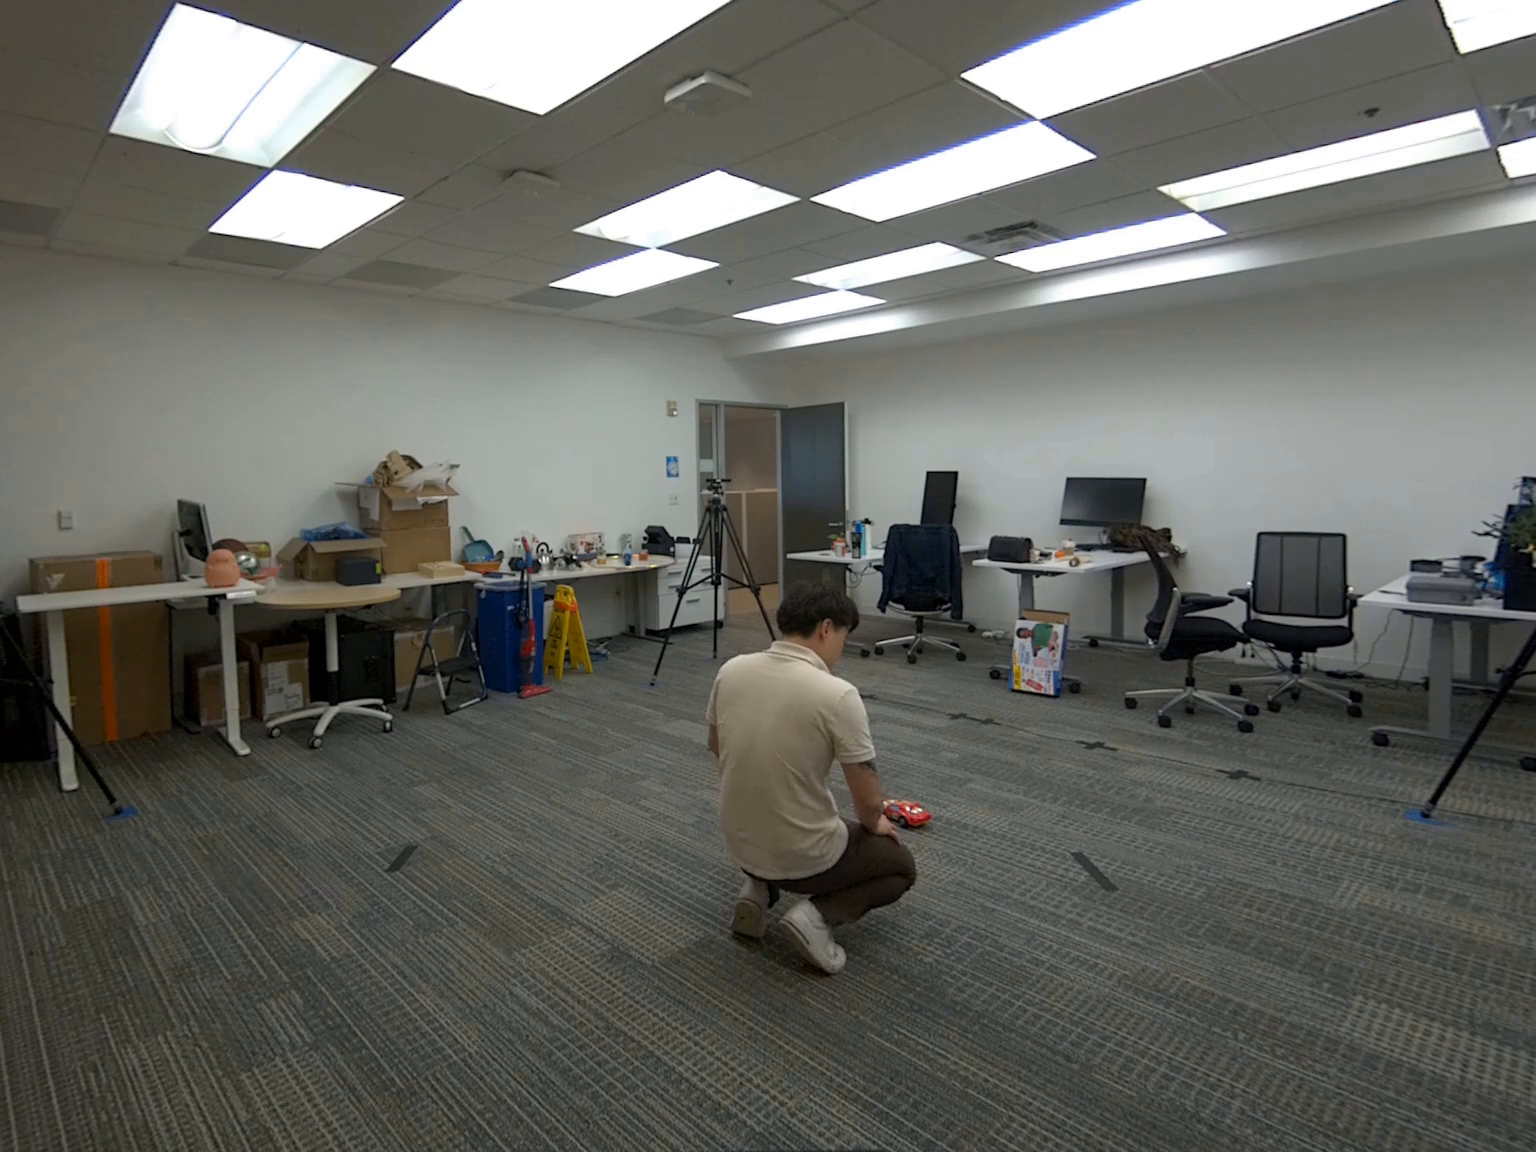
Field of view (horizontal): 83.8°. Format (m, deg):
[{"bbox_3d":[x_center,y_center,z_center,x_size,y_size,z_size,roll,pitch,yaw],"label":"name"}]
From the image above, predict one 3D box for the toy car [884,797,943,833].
[{"bbox_3d":[0.560,0.962,3.469,0.127,0.084,0.259,-3,-5,-34],"label":"toy car"}]
